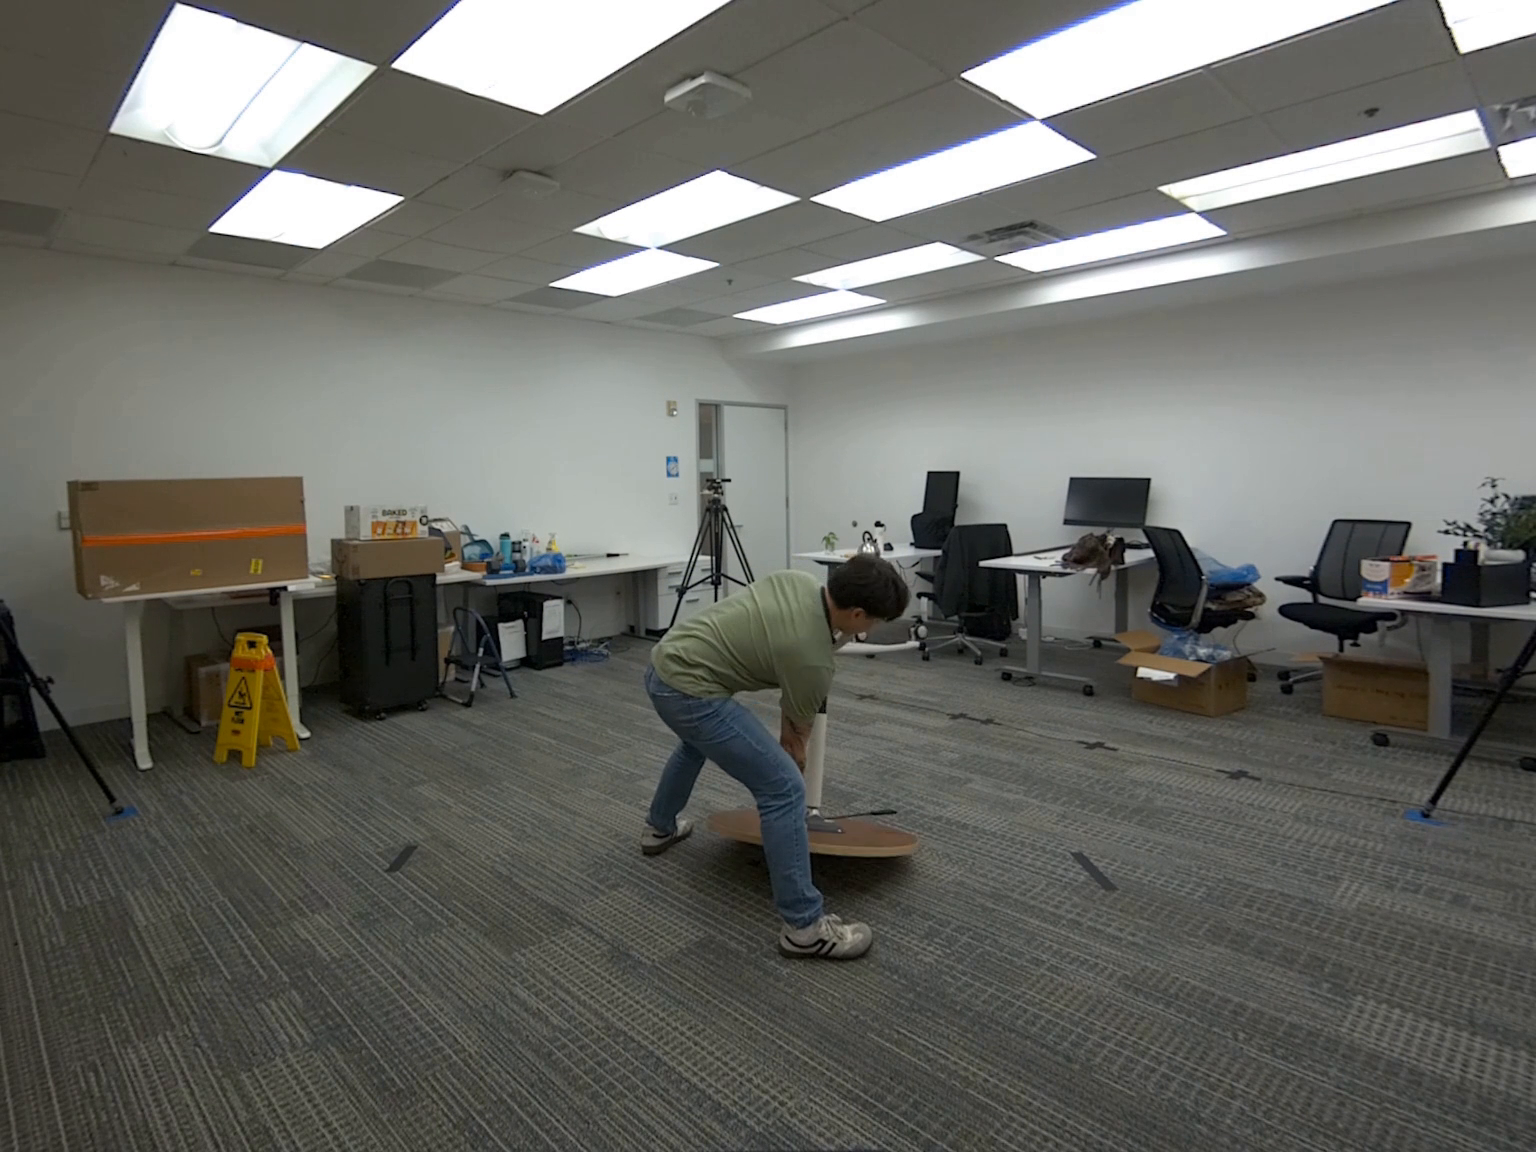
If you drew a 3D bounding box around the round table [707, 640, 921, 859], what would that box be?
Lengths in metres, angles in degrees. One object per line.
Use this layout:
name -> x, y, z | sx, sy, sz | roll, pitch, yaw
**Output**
round table -> 0.197, 0.556, 3.183 | 0.764, 0.801, 0.758 | 5, -9, -1
